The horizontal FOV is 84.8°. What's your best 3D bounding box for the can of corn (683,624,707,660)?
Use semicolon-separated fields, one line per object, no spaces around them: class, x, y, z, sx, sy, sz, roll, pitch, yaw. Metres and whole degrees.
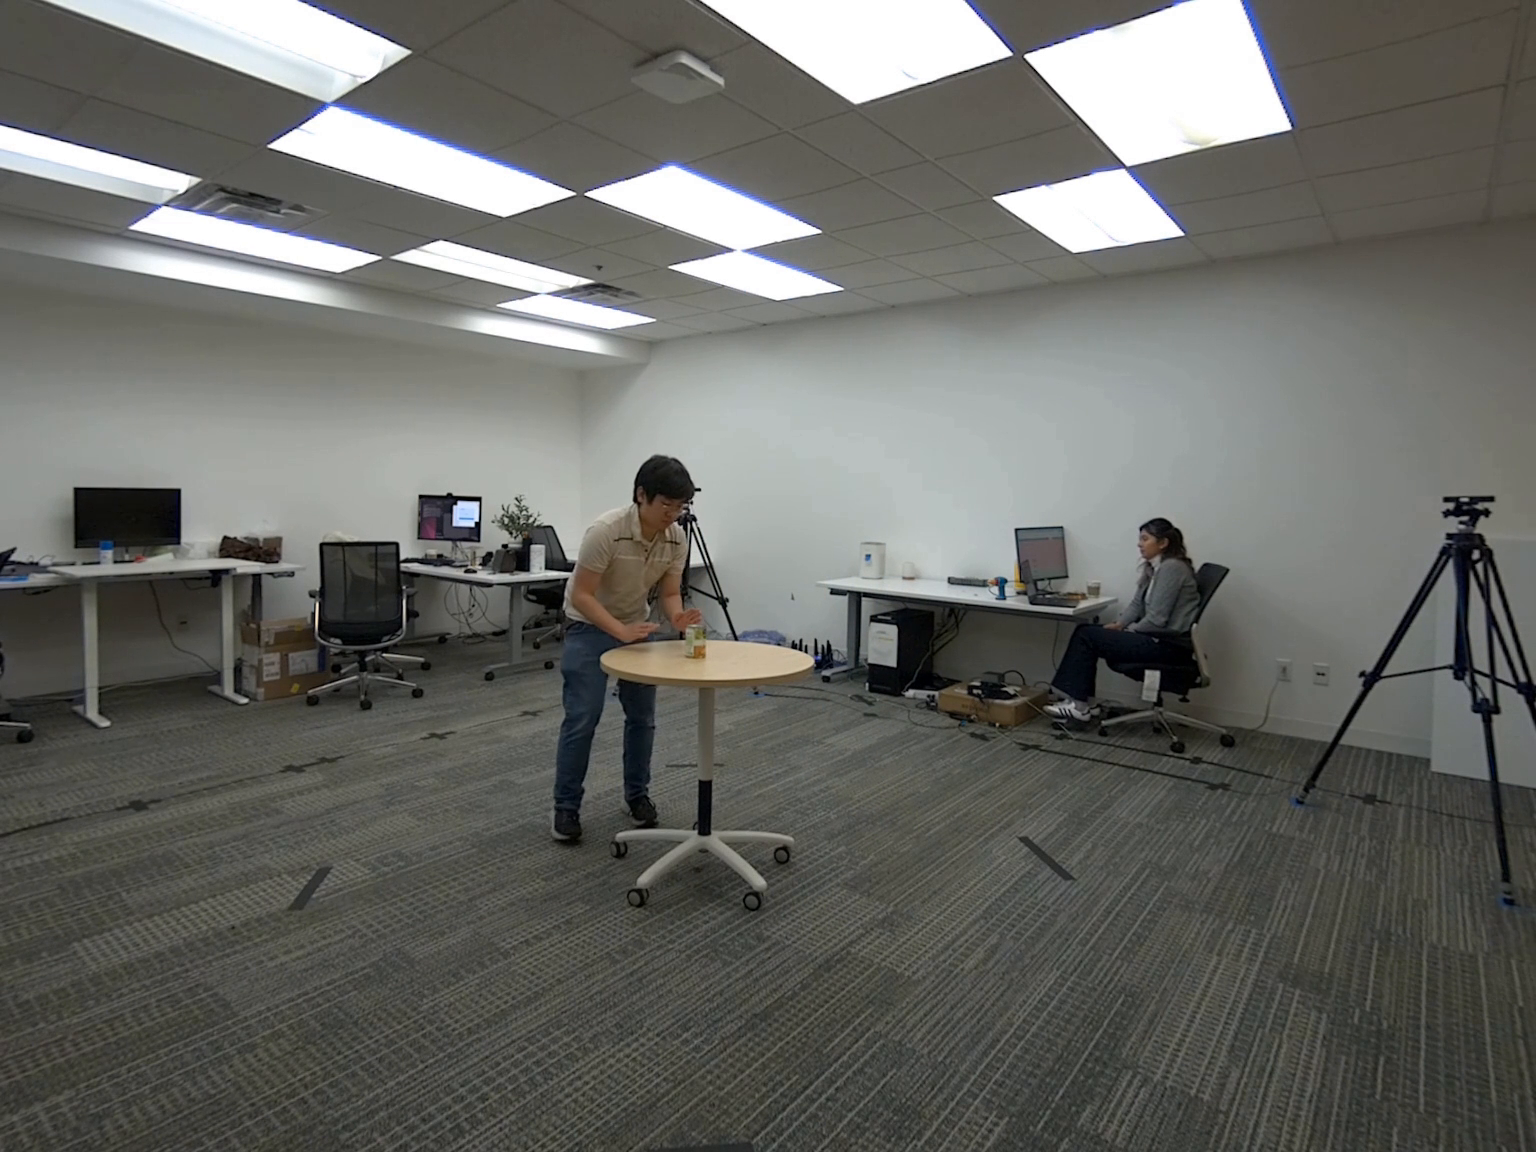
can of corn;-0.275;0.235;3.076;0.074;0.111;0.074;-1;3;-2
